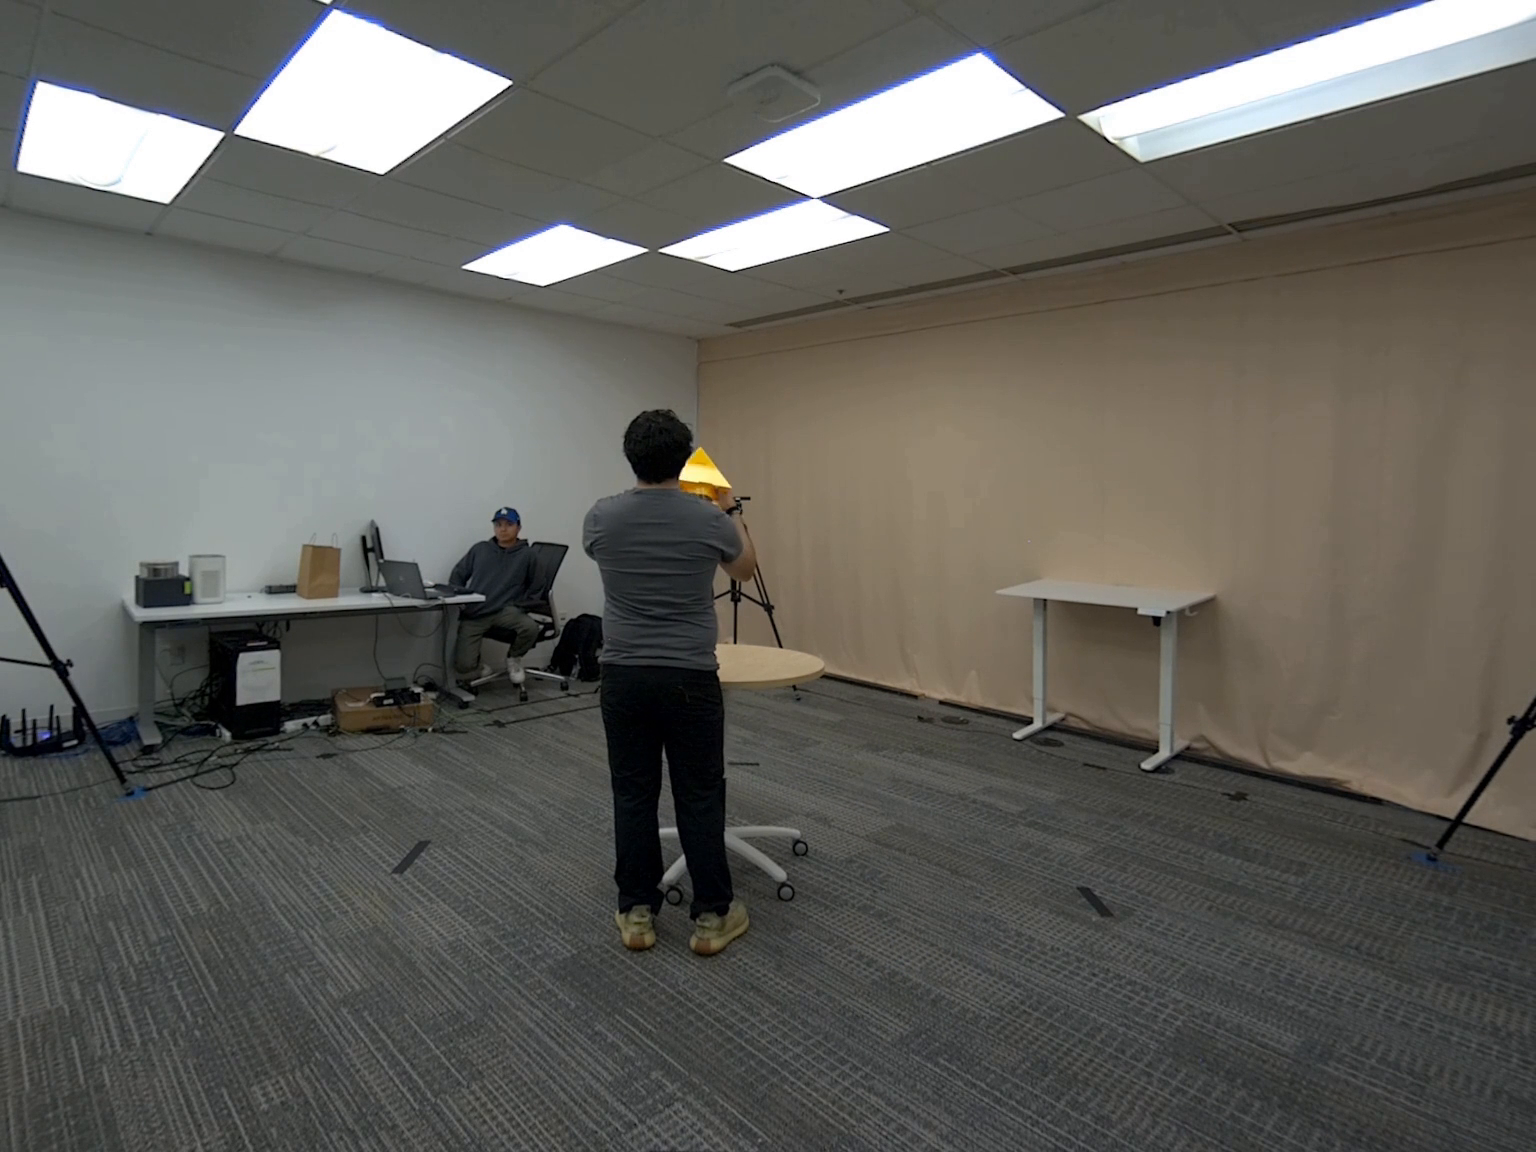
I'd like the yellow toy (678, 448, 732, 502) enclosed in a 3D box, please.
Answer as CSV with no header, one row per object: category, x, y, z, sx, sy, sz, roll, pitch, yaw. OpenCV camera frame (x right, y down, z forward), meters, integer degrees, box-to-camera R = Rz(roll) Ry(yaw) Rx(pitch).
yellow toy,-0.269,-0.323,2.982,0.200,0.234,0.194,6,-21,-29
